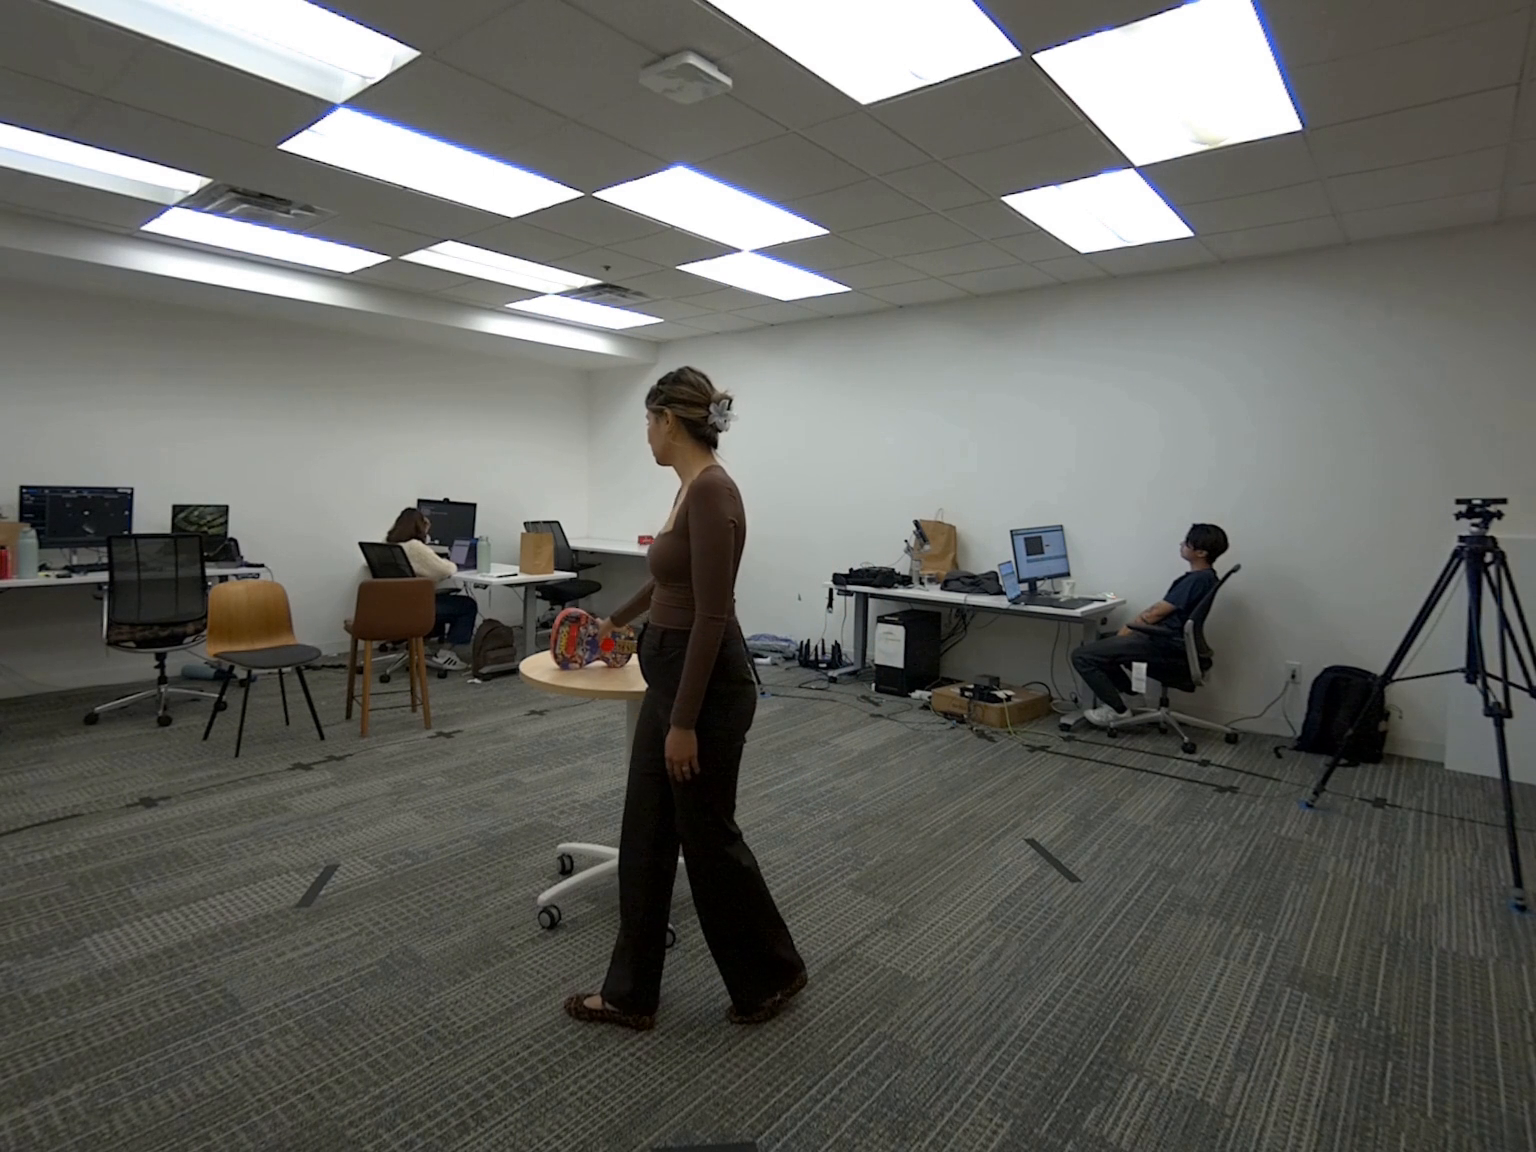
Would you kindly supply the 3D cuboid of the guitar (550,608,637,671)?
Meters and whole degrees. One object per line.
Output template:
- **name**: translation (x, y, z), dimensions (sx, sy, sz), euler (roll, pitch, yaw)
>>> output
- **guitar**: translation (-0.484, 0.255, 2.810), dimensions (0.487, 0.193, 0.072), euler (17, -1, -18)
